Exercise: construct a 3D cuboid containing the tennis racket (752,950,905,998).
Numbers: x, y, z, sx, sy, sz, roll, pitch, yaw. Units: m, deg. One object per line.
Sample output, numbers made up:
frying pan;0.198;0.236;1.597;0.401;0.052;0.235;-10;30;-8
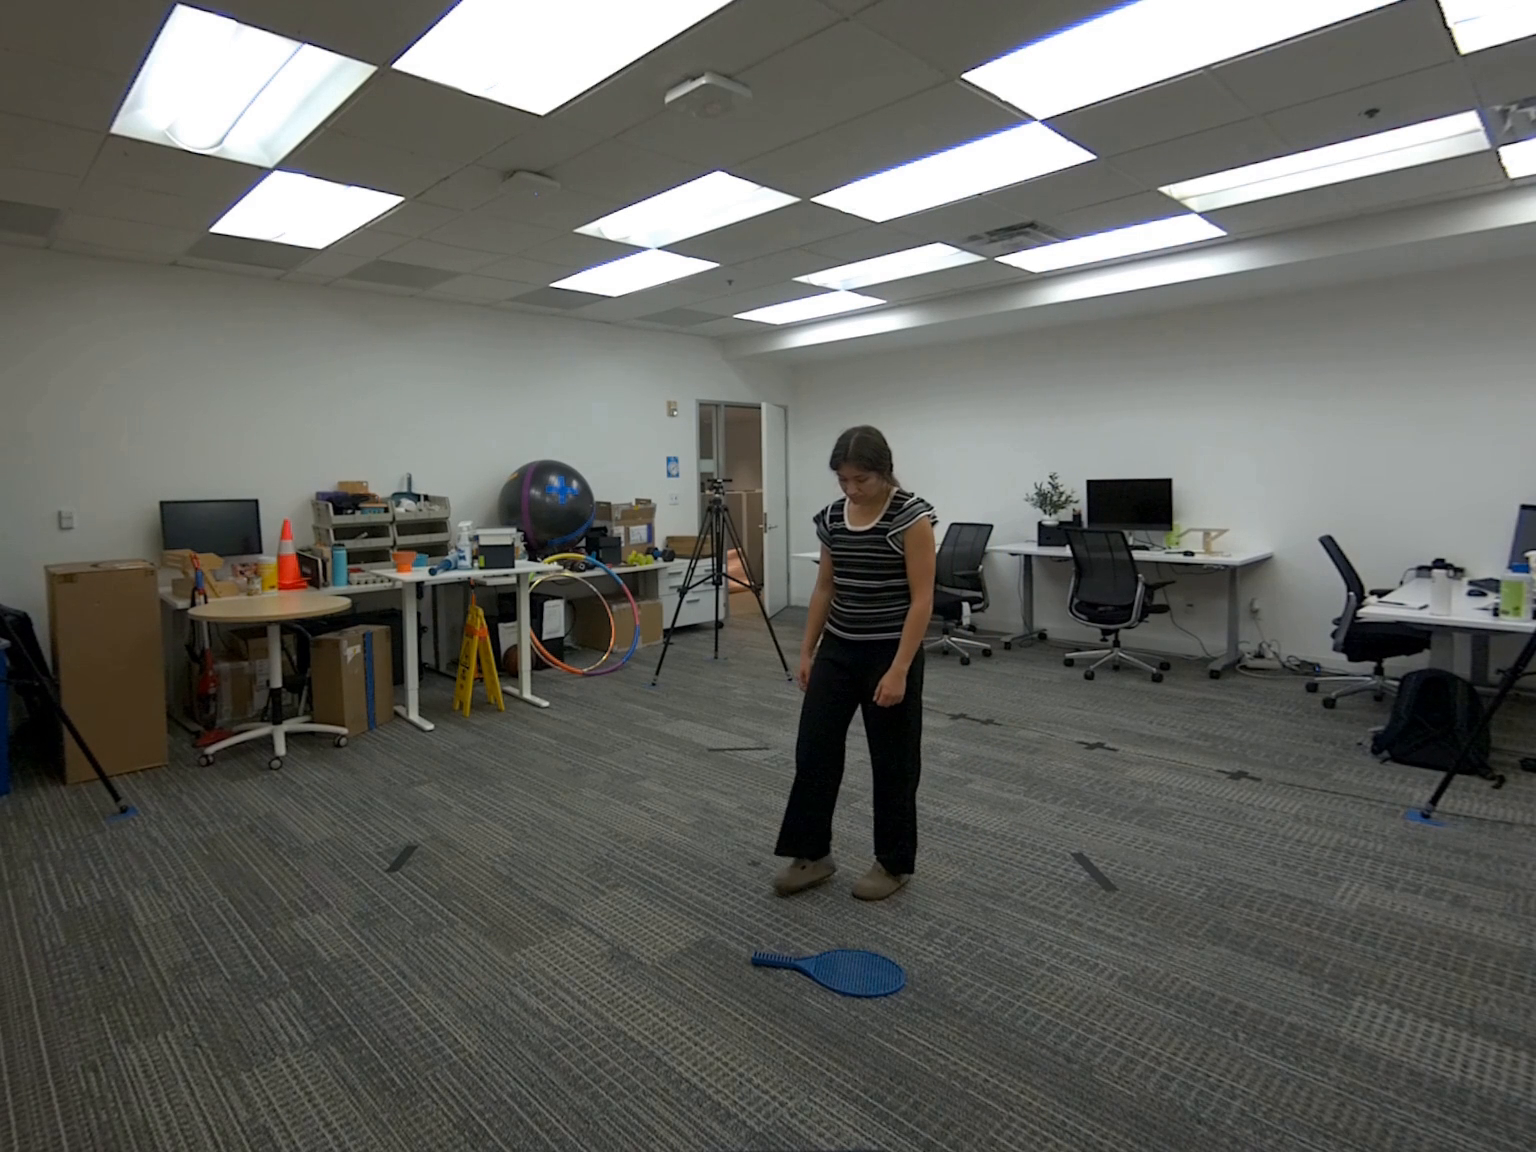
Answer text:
tennis racket;0.169;1.111;2.420;0.438;0.031;0.212;2;7;11
